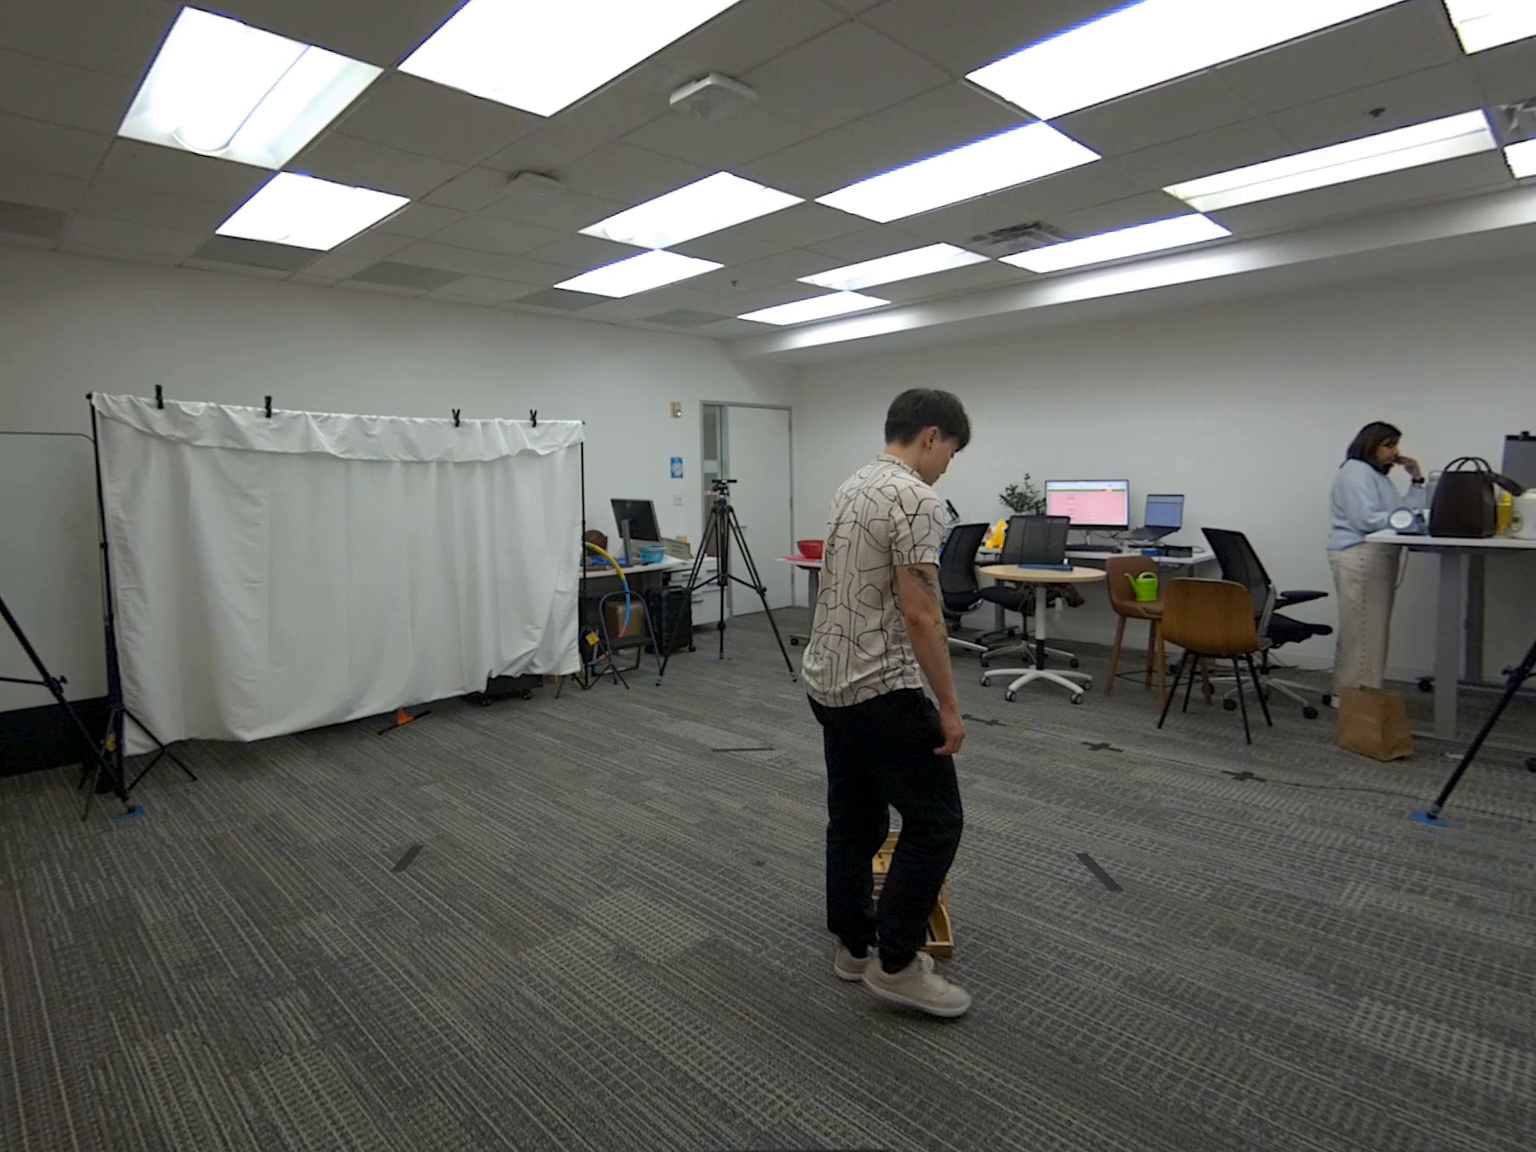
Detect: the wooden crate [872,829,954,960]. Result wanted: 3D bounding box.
[{"bbox_3d":[0.401,0.967,2.603,0.325,0.272,0.303,-2,4,0],"label":"wooden crate"}]
